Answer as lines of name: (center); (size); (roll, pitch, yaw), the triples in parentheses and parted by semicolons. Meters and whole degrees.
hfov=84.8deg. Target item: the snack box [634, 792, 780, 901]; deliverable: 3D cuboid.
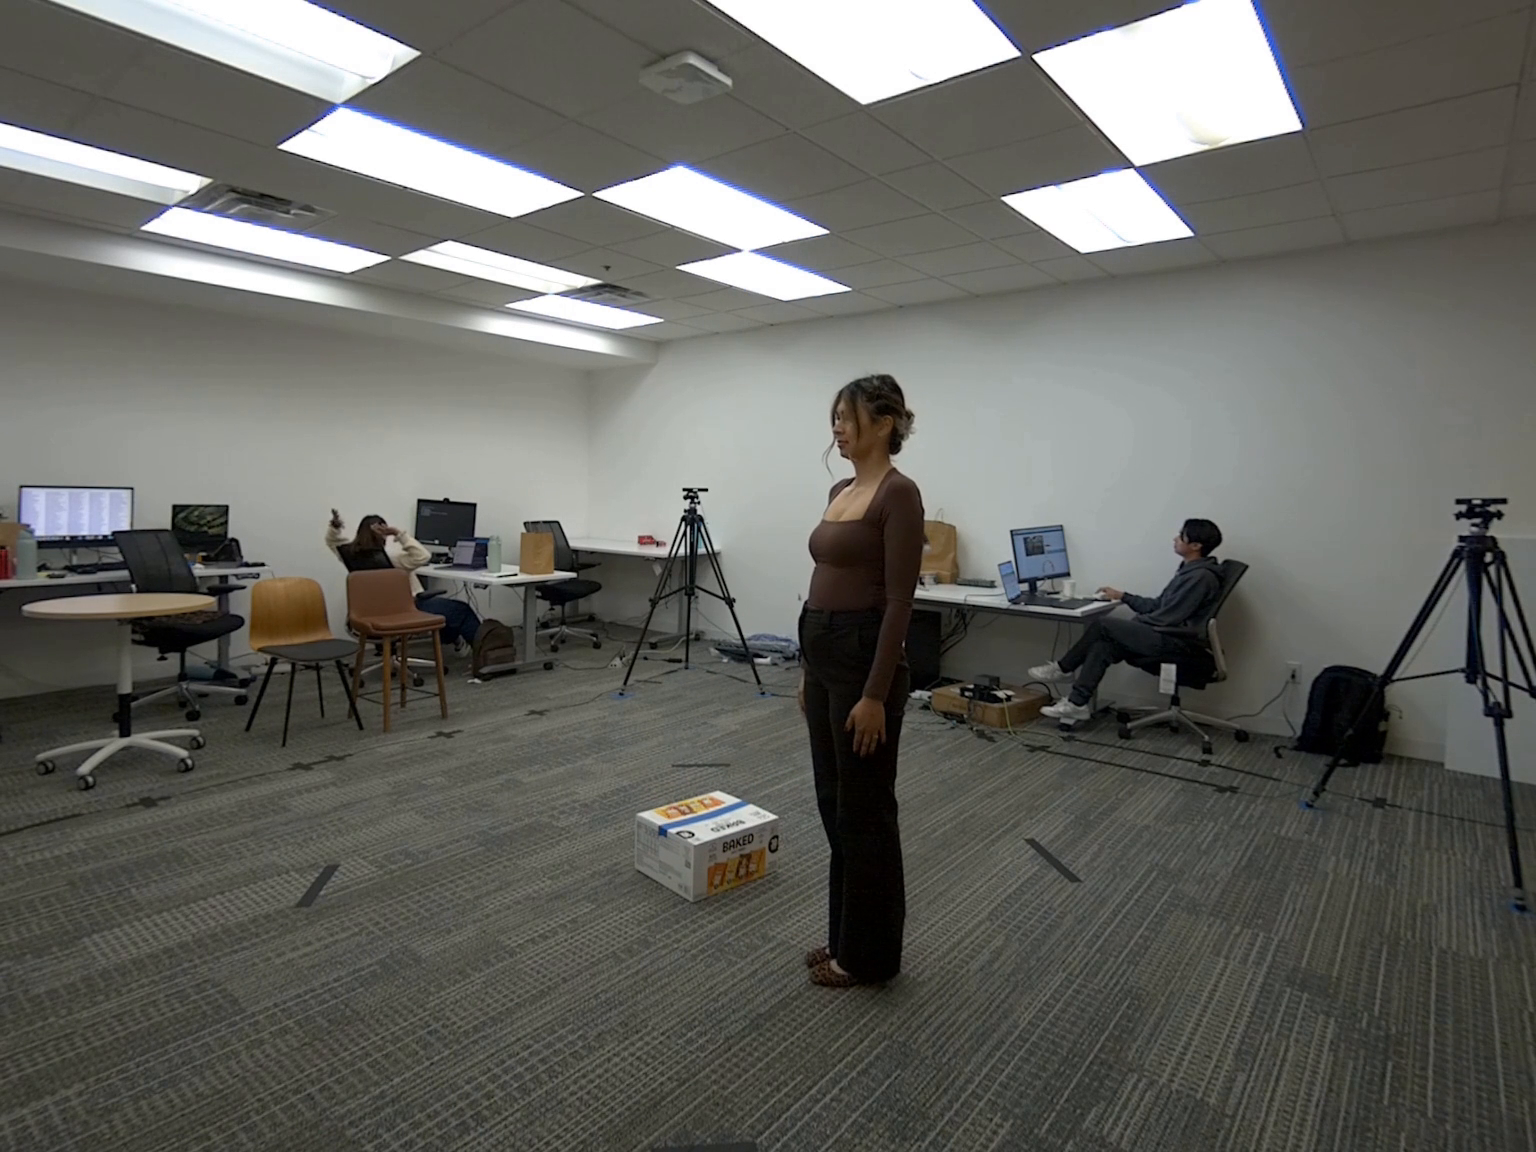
snack box: (-0.233, 0.969, 3.093); (0.393, 0.205, 0.352); (-3, 6, -43)
